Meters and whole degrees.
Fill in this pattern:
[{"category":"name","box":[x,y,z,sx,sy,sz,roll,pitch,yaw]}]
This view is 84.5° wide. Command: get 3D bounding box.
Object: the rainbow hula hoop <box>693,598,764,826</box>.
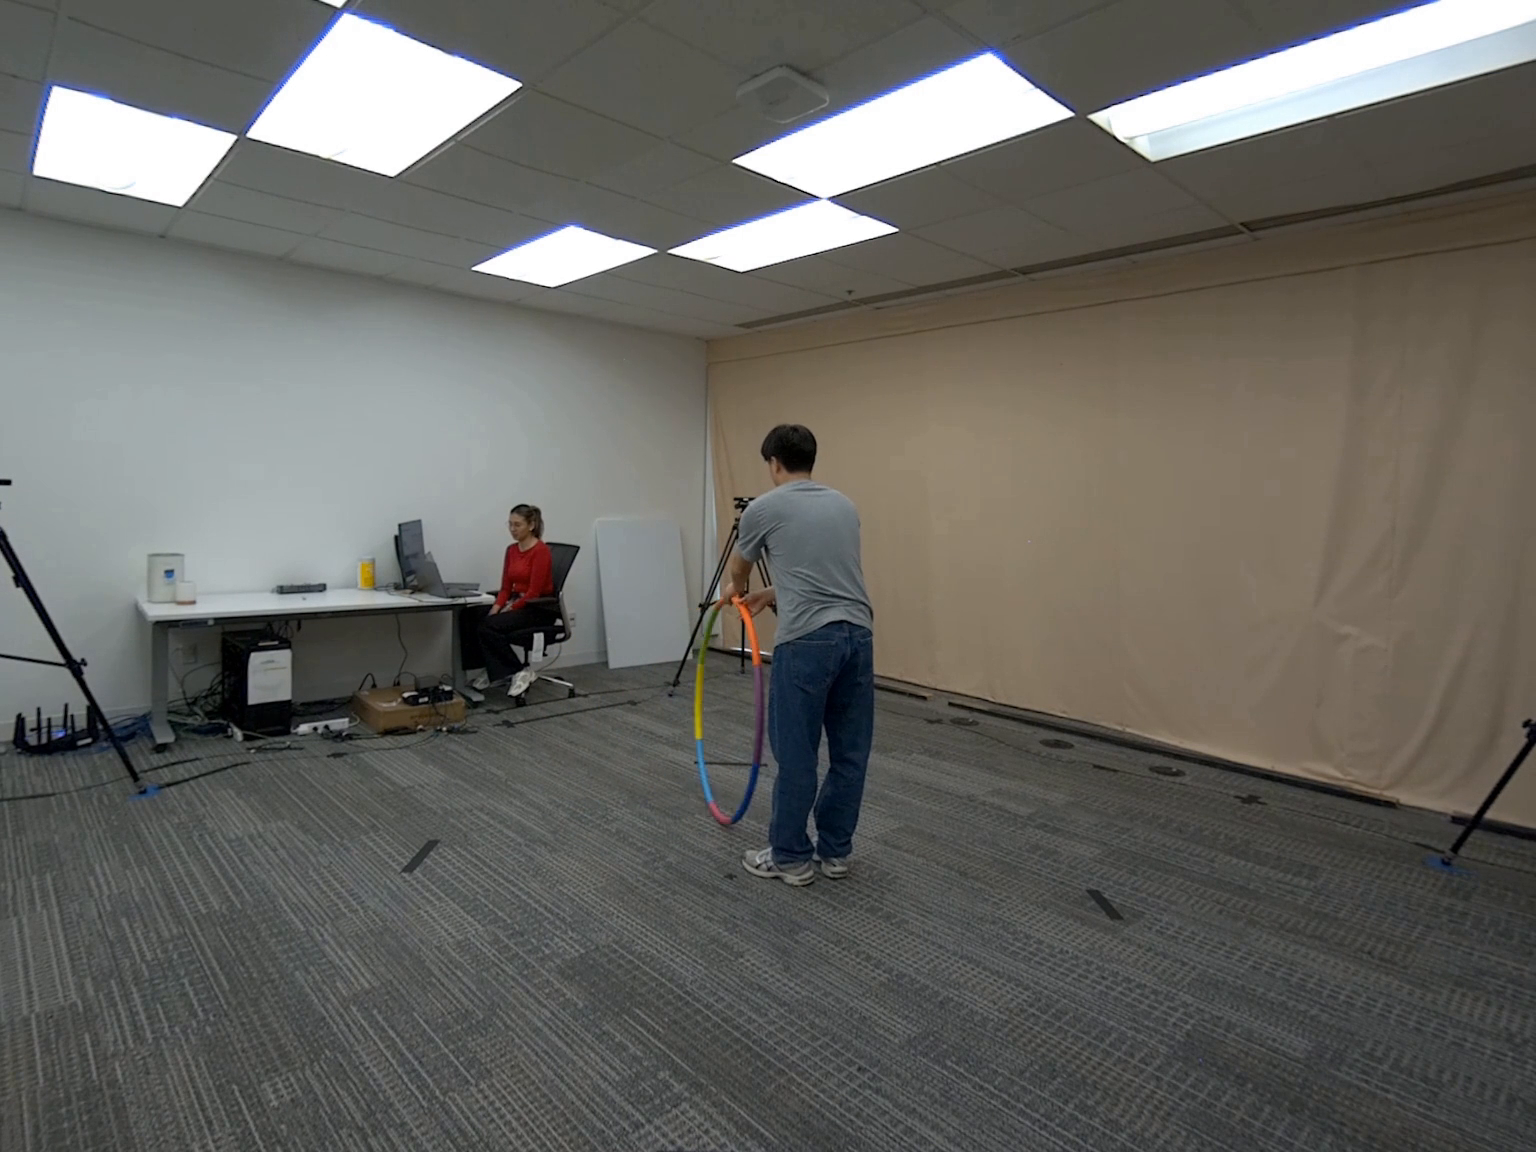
[{"category":"rainbow hula hoop","box":[-0.202,0.569,3.674,0.035,0.977,0.994,4,3,-19]}]
